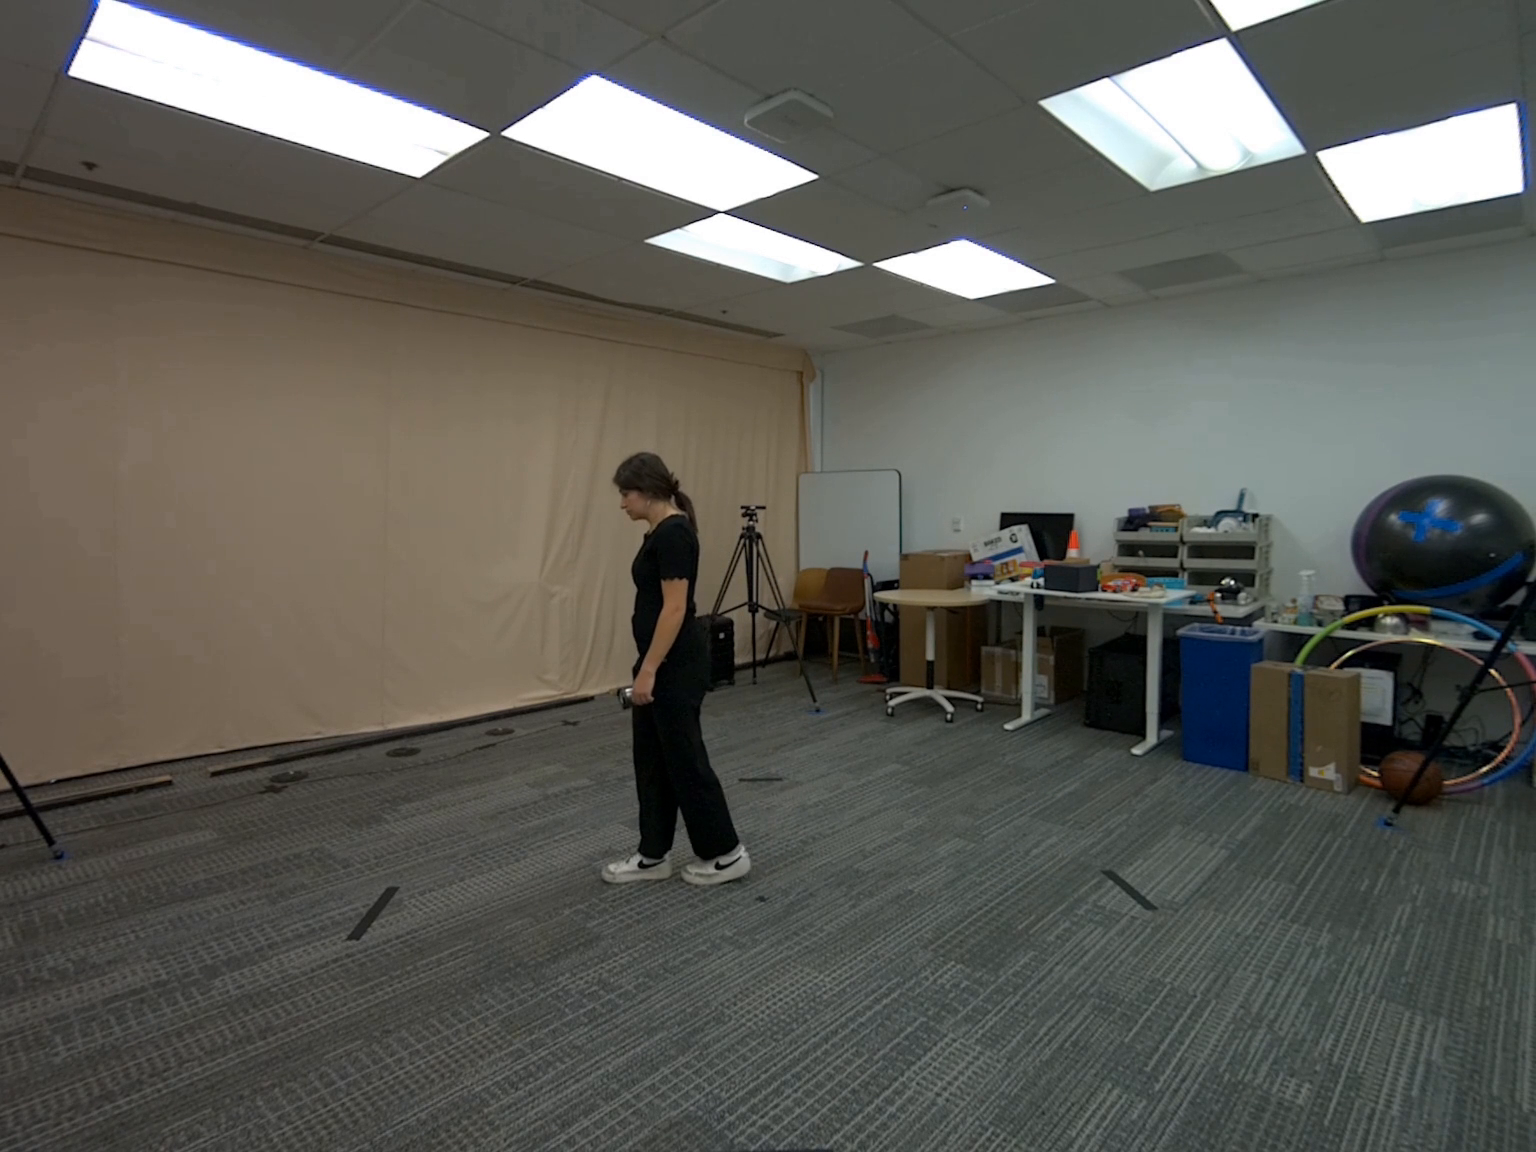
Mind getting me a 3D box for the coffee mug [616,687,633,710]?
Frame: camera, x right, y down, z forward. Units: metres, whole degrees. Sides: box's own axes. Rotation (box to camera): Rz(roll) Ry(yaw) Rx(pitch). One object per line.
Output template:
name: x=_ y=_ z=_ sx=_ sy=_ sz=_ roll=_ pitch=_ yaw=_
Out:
coffee mug: x=-0.492 y=0.460 z=3.325 sx=0.200 sy=0.088 sz=0.123 roll=-13 pitch=-9 yaw=-19
